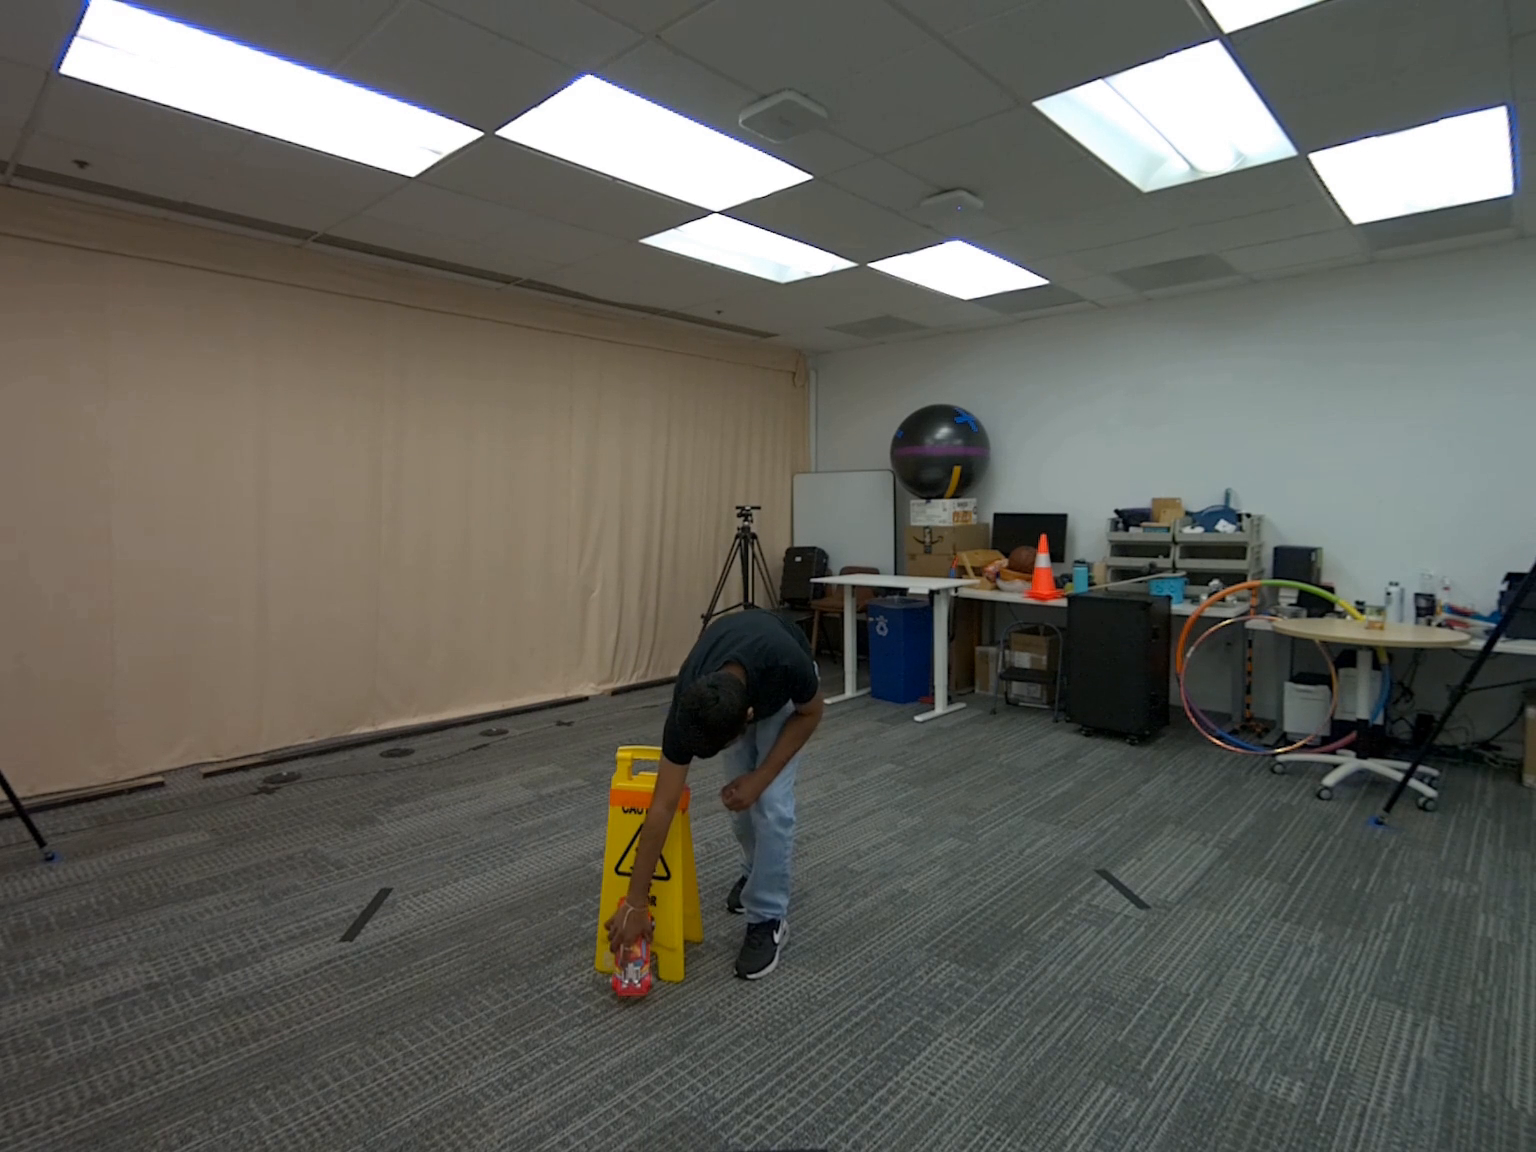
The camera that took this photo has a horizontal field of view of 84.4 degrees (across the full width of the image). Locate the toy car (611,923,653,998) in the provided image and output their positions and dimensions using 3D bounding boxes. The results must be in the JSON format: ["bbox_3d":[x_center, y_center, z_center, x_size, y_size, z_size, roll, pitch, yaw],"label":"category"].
[{"bbox_3d":[-0.383,1.047,2.399,0.131,0.257,0.082,-5,-17,5],"label":"toy car"}]
